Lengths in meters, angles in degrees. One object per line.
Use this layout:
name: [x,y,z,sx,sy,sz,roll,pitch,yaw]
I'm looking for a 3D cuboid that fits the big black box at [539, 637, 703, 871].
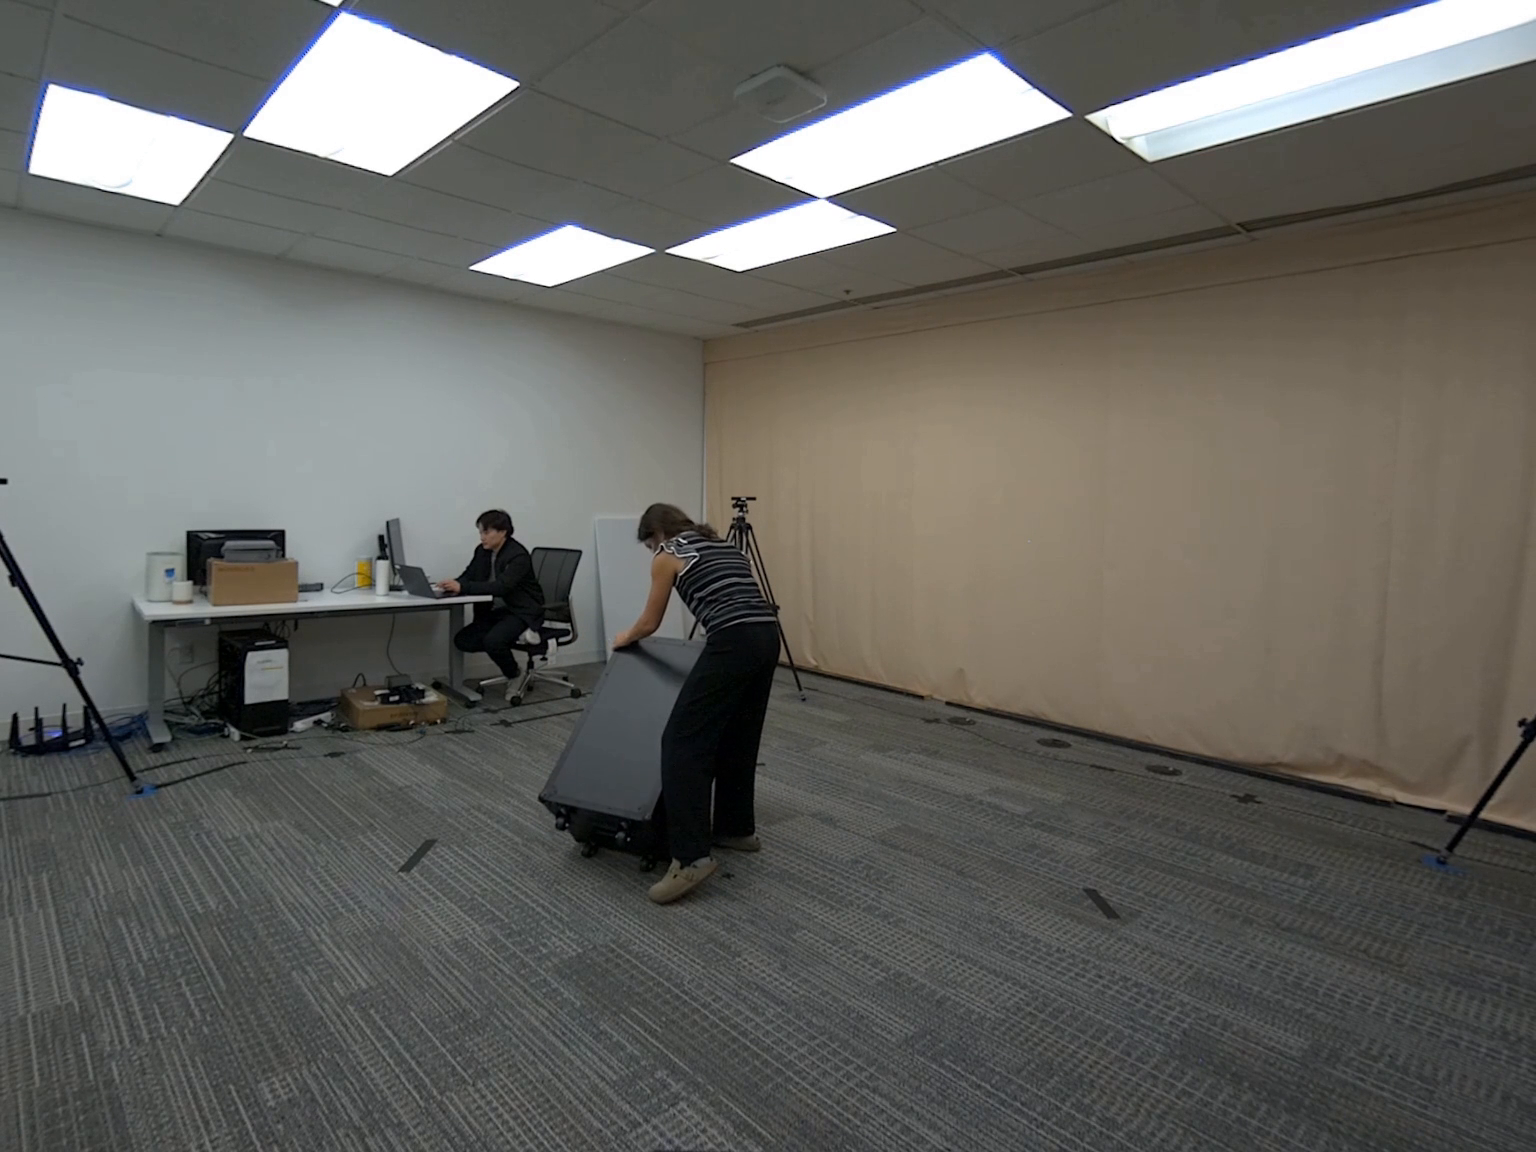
big black box: [-0.503,0.697,3.366,0.531,0.385,0.870,2,48,24]
